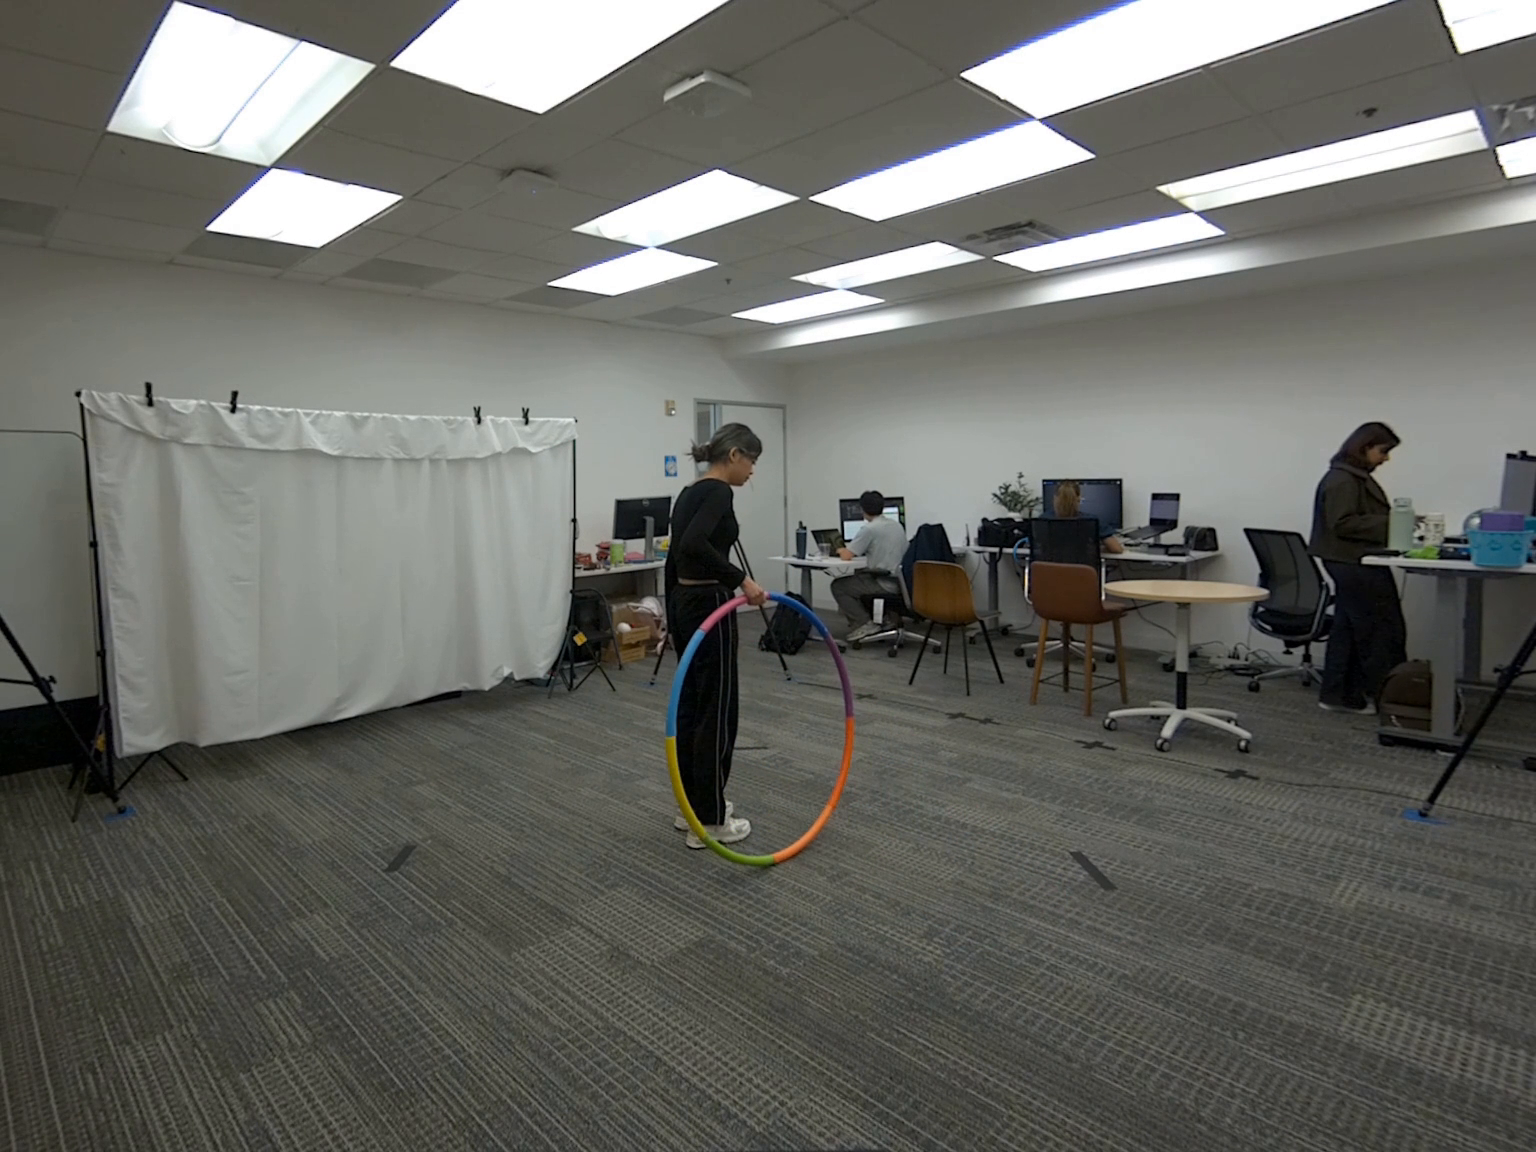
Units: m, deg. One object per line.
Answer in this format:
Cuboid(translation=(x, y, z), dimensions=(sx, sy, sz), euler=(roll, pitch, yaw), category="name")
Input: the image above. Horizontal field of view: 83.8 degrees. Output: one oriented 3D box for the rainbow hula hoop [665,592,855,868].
Cuboid(translation=(0.006, 0.544, 3.145), dimensions=(0.036, 0.981, 0.953), euler=(-9, -2, 43), category="rainbow hula hoop")
